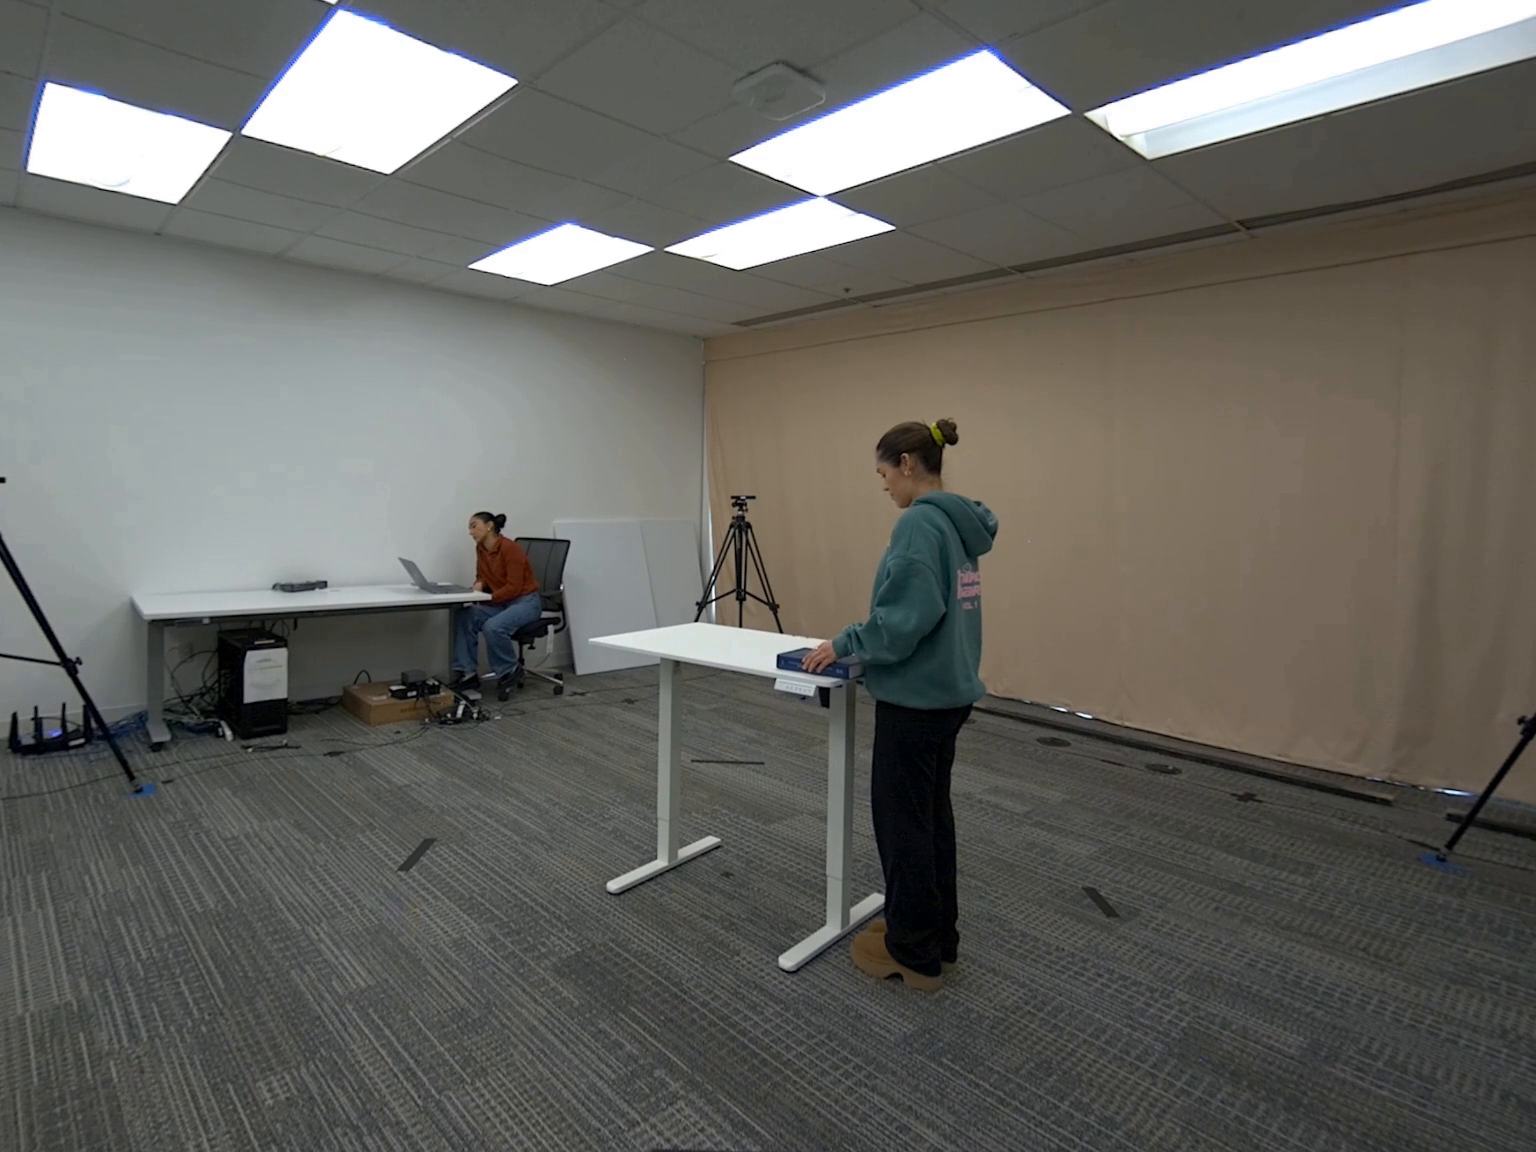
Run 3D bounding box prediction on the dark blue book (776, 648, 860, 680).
[{"bbox_3d":[0.178,0.265,2.503,0.251,0.045,0.160,6,8,33],"label":"dark blue book"}]
